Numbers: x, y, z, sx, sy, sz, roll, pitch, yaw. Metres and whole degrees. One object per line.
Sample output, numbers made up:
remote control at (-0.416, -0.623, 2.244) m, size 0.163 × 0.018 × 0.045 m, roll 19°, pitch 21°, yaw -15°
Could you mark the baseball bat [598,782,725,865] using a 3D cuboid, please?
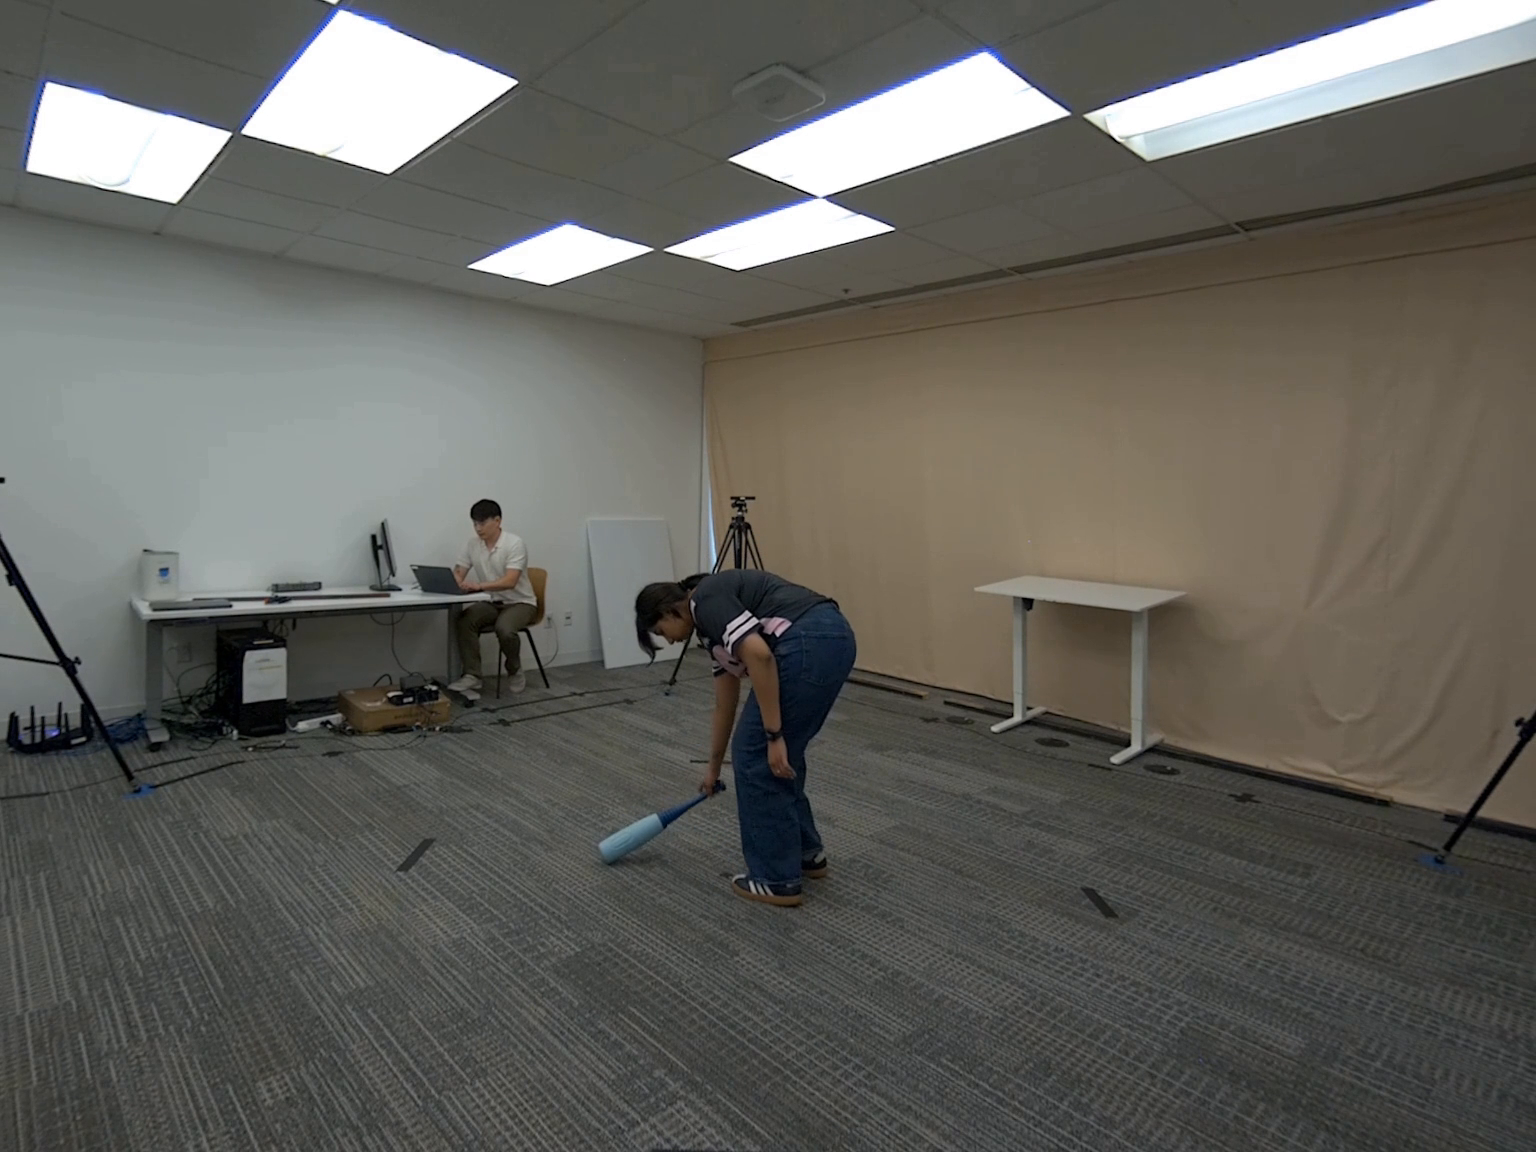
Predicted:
baseball bat at (-0.402, 0.943, 3.246) m, size 0.539 × 0.088 × 0.091 m, roll -27°, pitch 14°, yaw -19°
